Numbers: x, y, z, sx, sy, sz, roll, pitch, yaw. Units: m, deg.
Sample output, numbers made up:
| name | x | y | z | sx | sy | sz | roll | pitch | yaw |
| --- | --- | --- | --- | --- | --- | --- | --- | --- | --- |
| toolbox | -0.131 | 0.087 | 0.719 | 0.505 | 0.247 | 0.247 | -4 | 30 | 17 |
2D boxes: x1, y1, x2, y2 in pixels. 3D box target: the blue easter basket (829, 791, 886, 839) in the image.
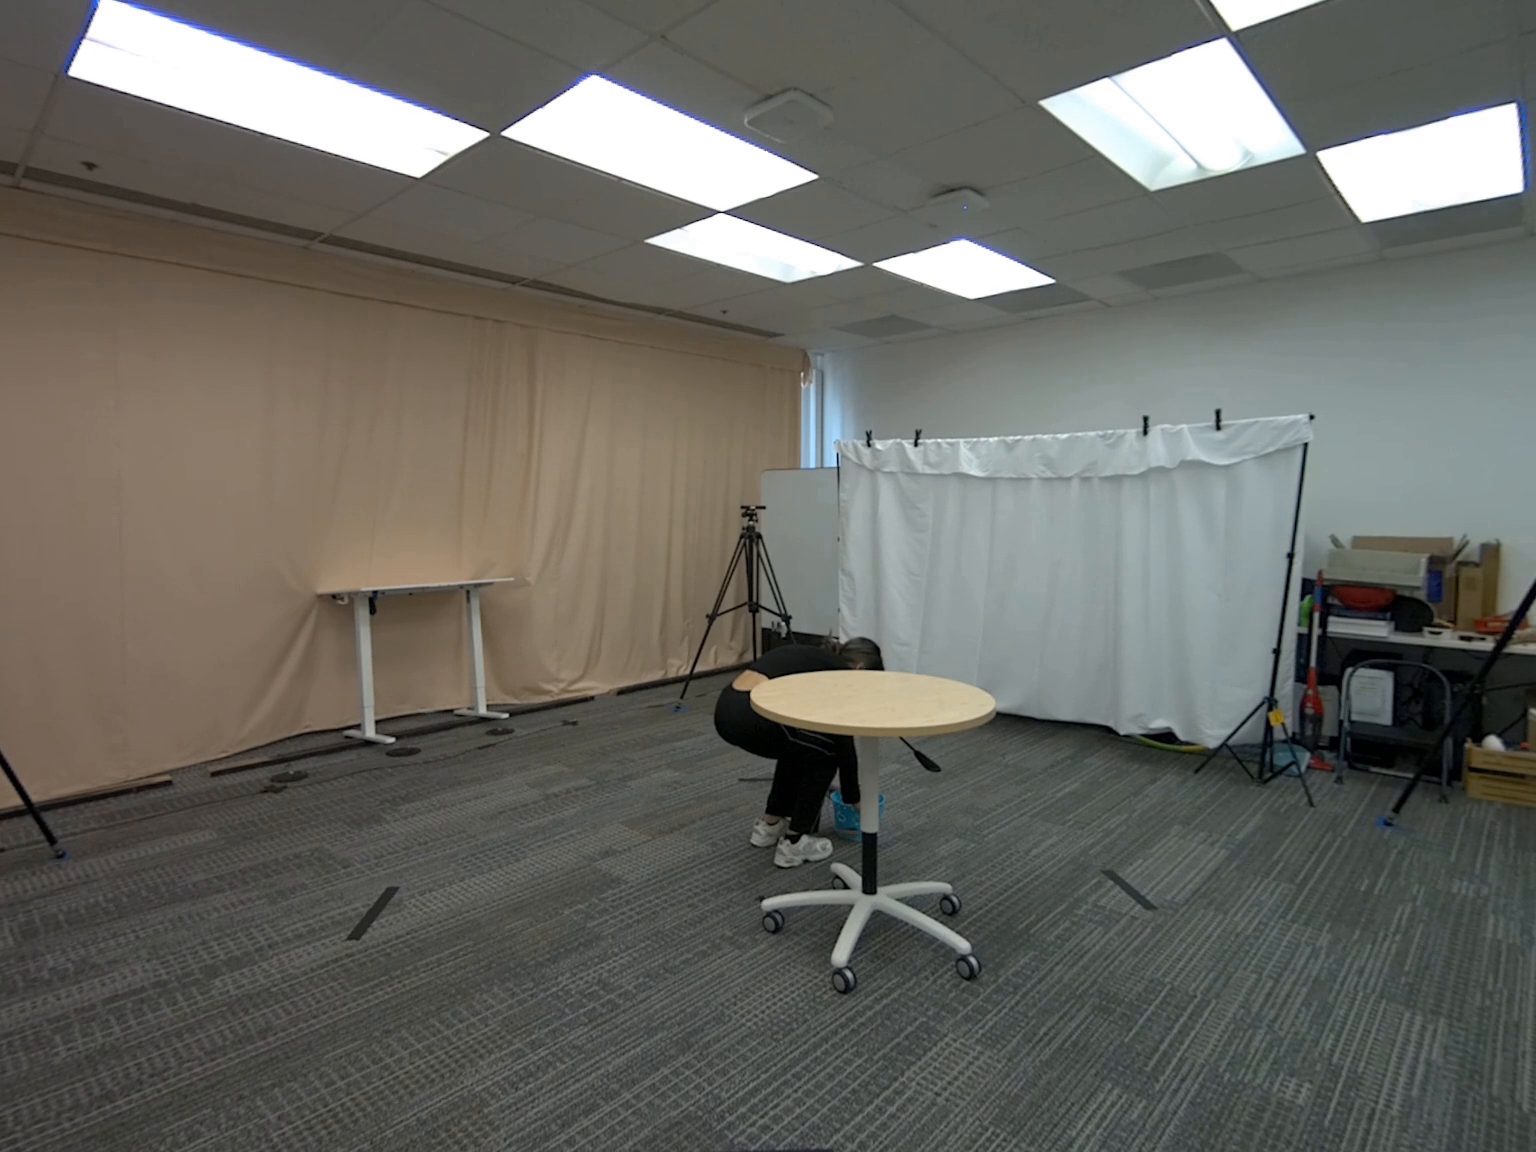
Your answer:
| name | x | y | z | sx | sy | sz | roll | pitch | yaw |
| --- | --- | --- | --- | --- | --- | --- | --- | --- | --- |
| blue easter basket | 0.371 | 1.015 | 3.587 | 0.243 | 0.155 | 0.244 | 0 | 4 | -2 |
